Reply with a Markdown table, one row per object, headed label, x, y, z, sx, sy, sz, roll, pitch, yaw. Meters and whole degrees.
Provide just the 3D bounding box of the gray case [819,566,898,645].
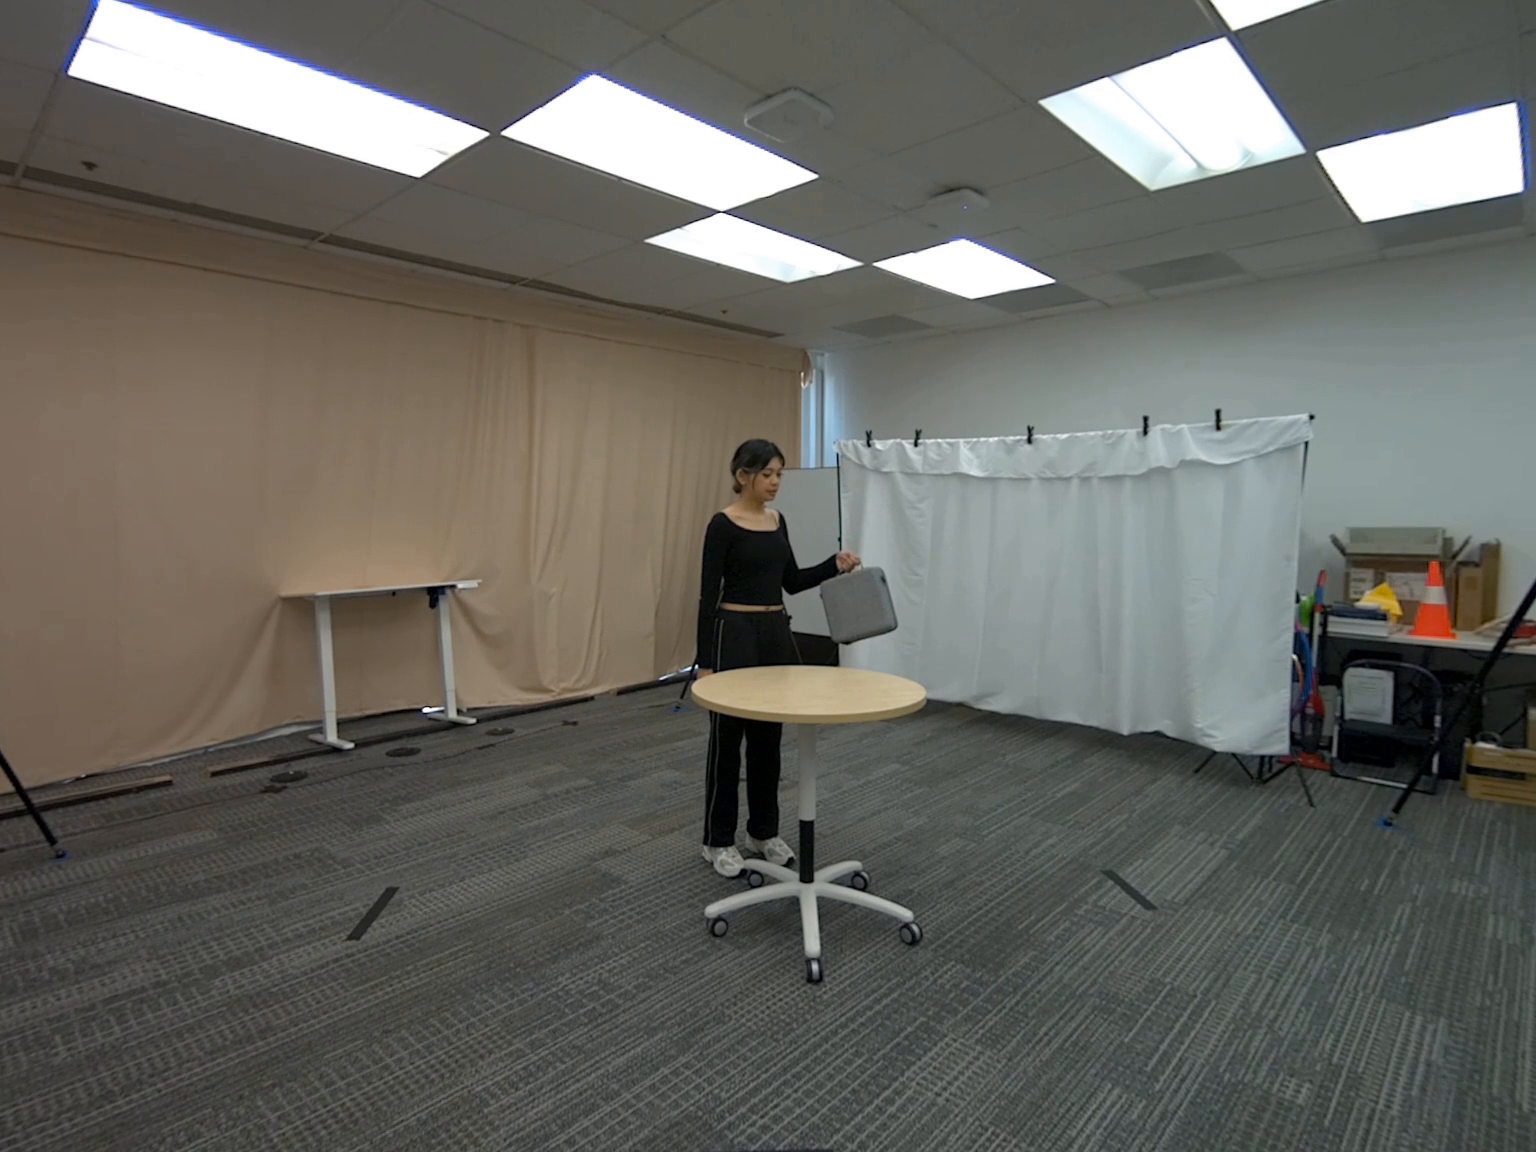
| label | x | y | z | sx | sy | sz | roll | pitch | yaw |
| --- | --- | --- | --- | --- | --- | --- | --- | --- | --- |
| gray case | 0.353 | 0.110 | 3.219 | 0.262 | 0.263 | 0.101 | -20 | -13 | 30 |
